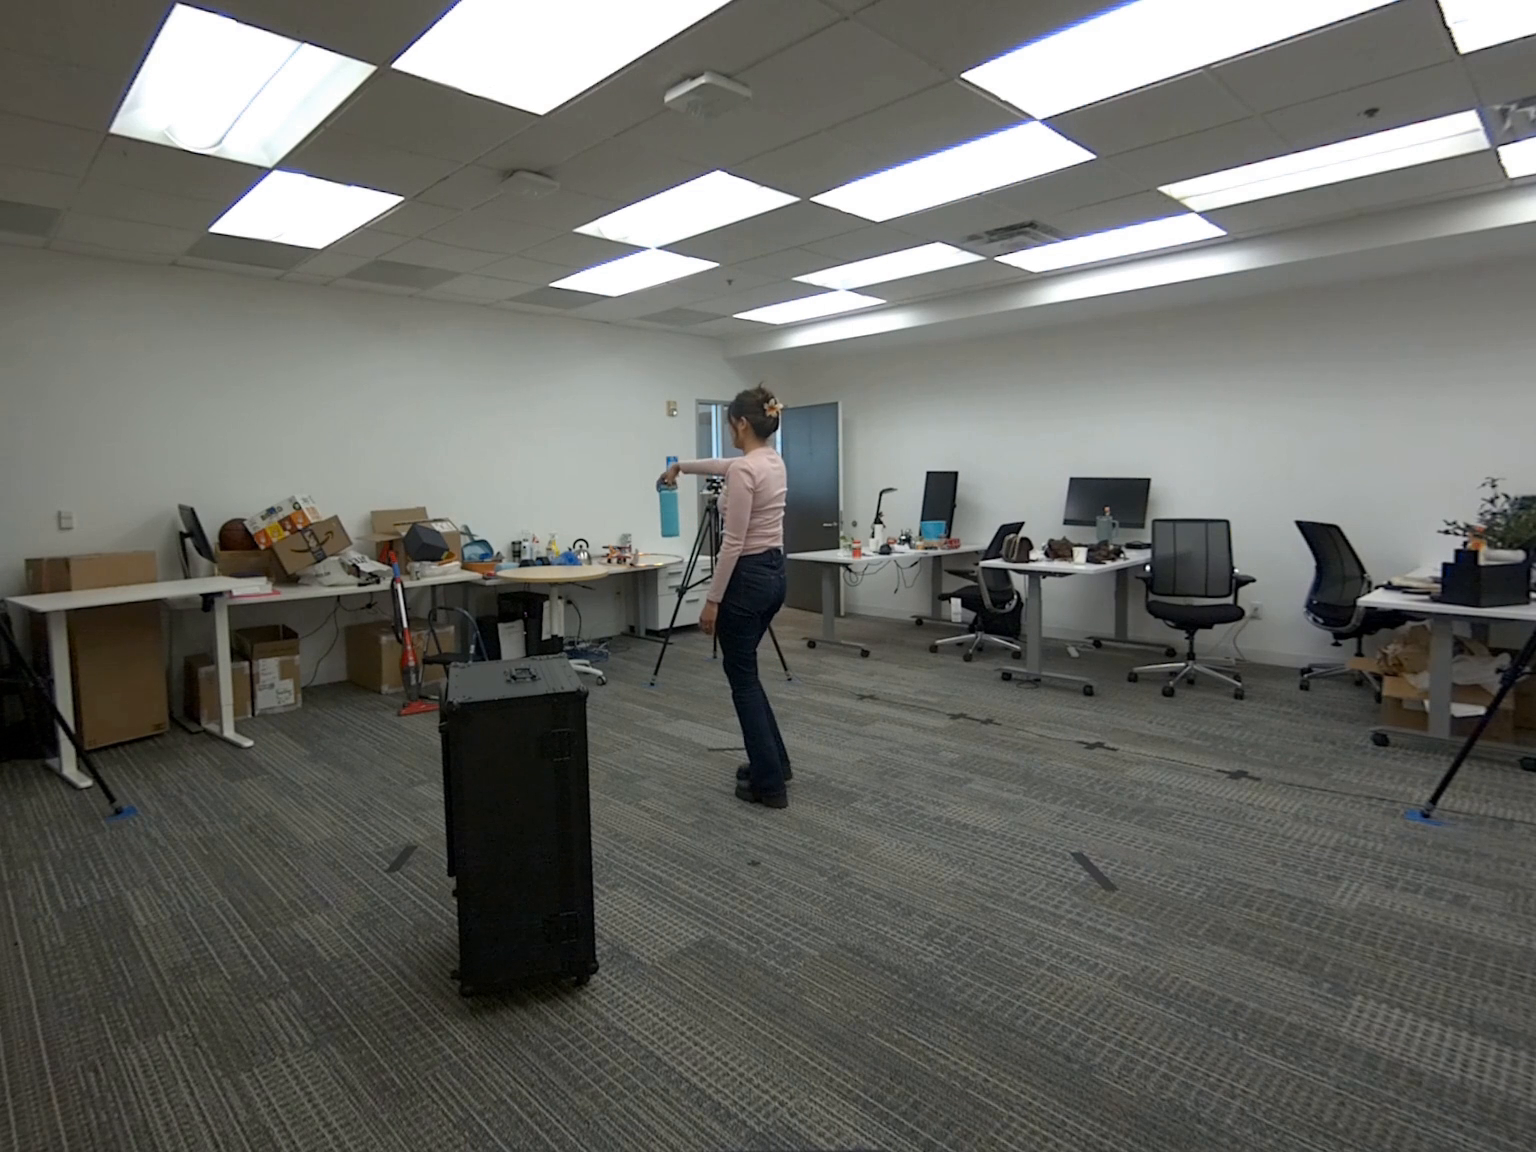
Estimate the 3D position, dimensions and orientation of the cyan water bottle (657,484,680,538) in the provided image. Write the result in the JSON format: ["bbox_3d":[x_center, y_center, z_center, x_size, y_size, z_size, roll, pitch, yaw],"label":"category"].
[{"bbox_3d":[-0.489,-0.334,4.167,0.092,0.282,0.093,-1,6,-2],"label":"cyan water bottle"}]
